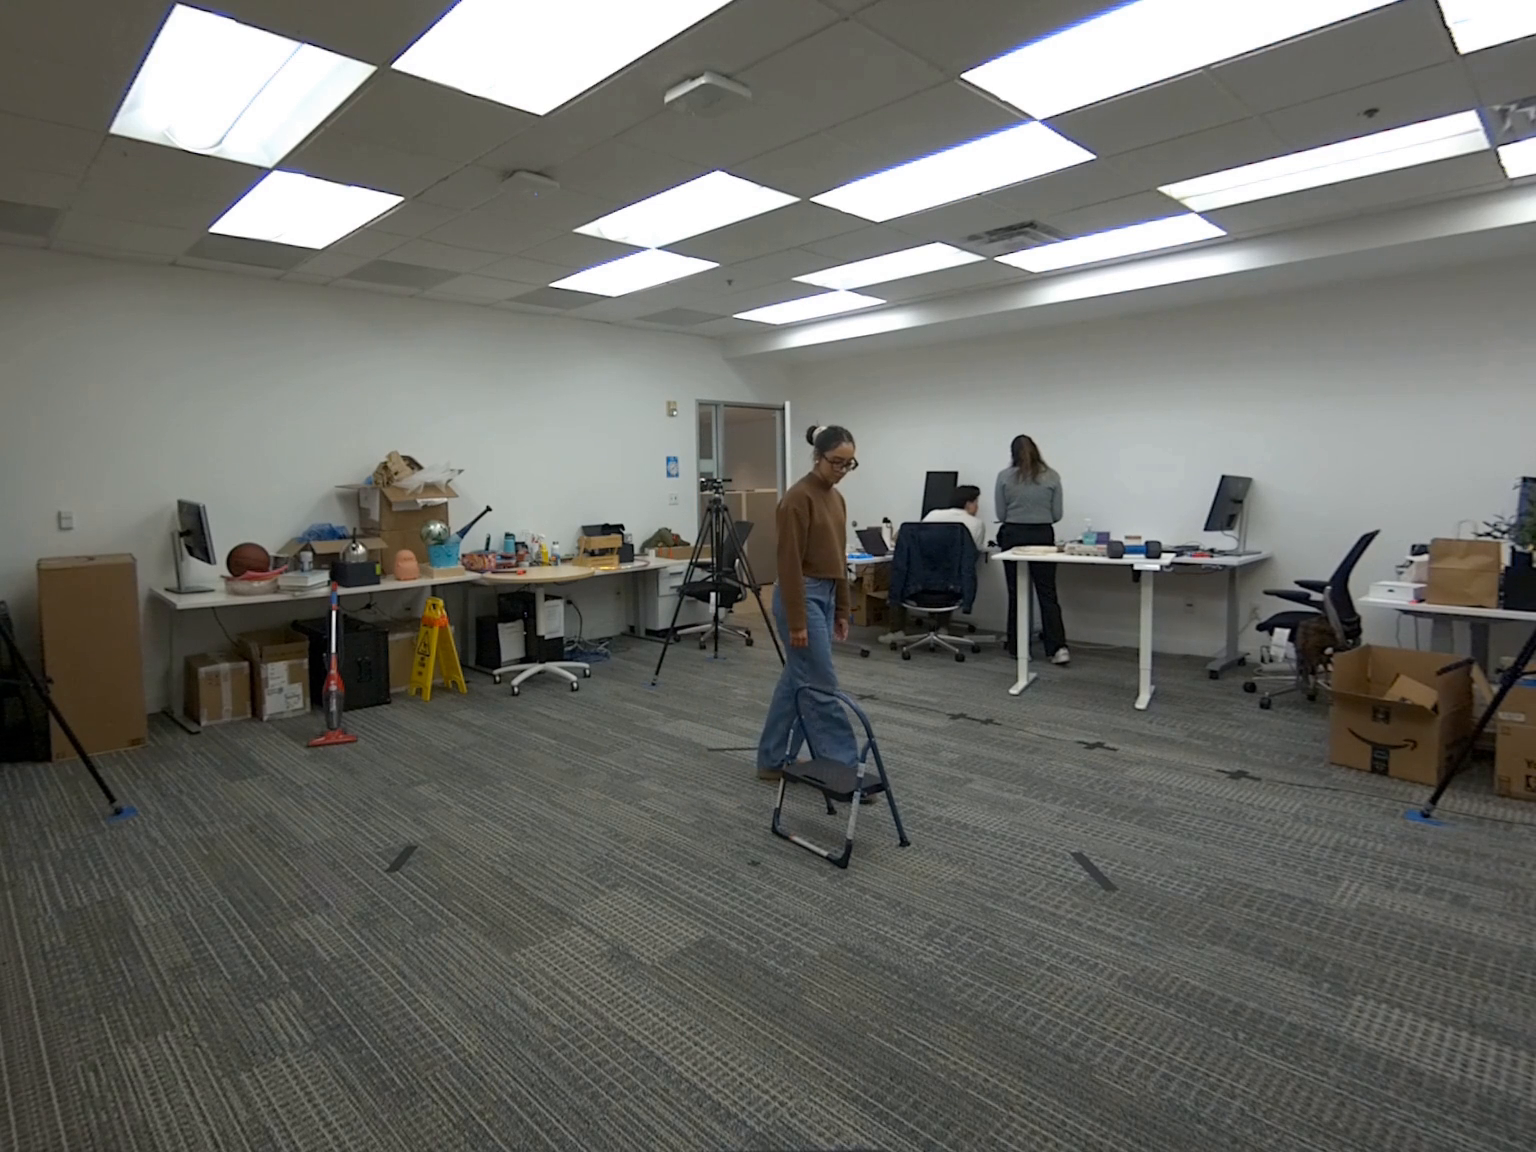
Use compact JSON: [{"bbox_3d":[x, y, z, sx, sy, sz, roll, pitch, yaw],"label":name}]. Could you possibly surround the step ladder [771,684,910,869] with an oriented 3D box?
[{"bbox_3d":[0.268,0.718,3.288,0.340,0.604,0.443,-4,5,-38],"label":"step ladder"}]
